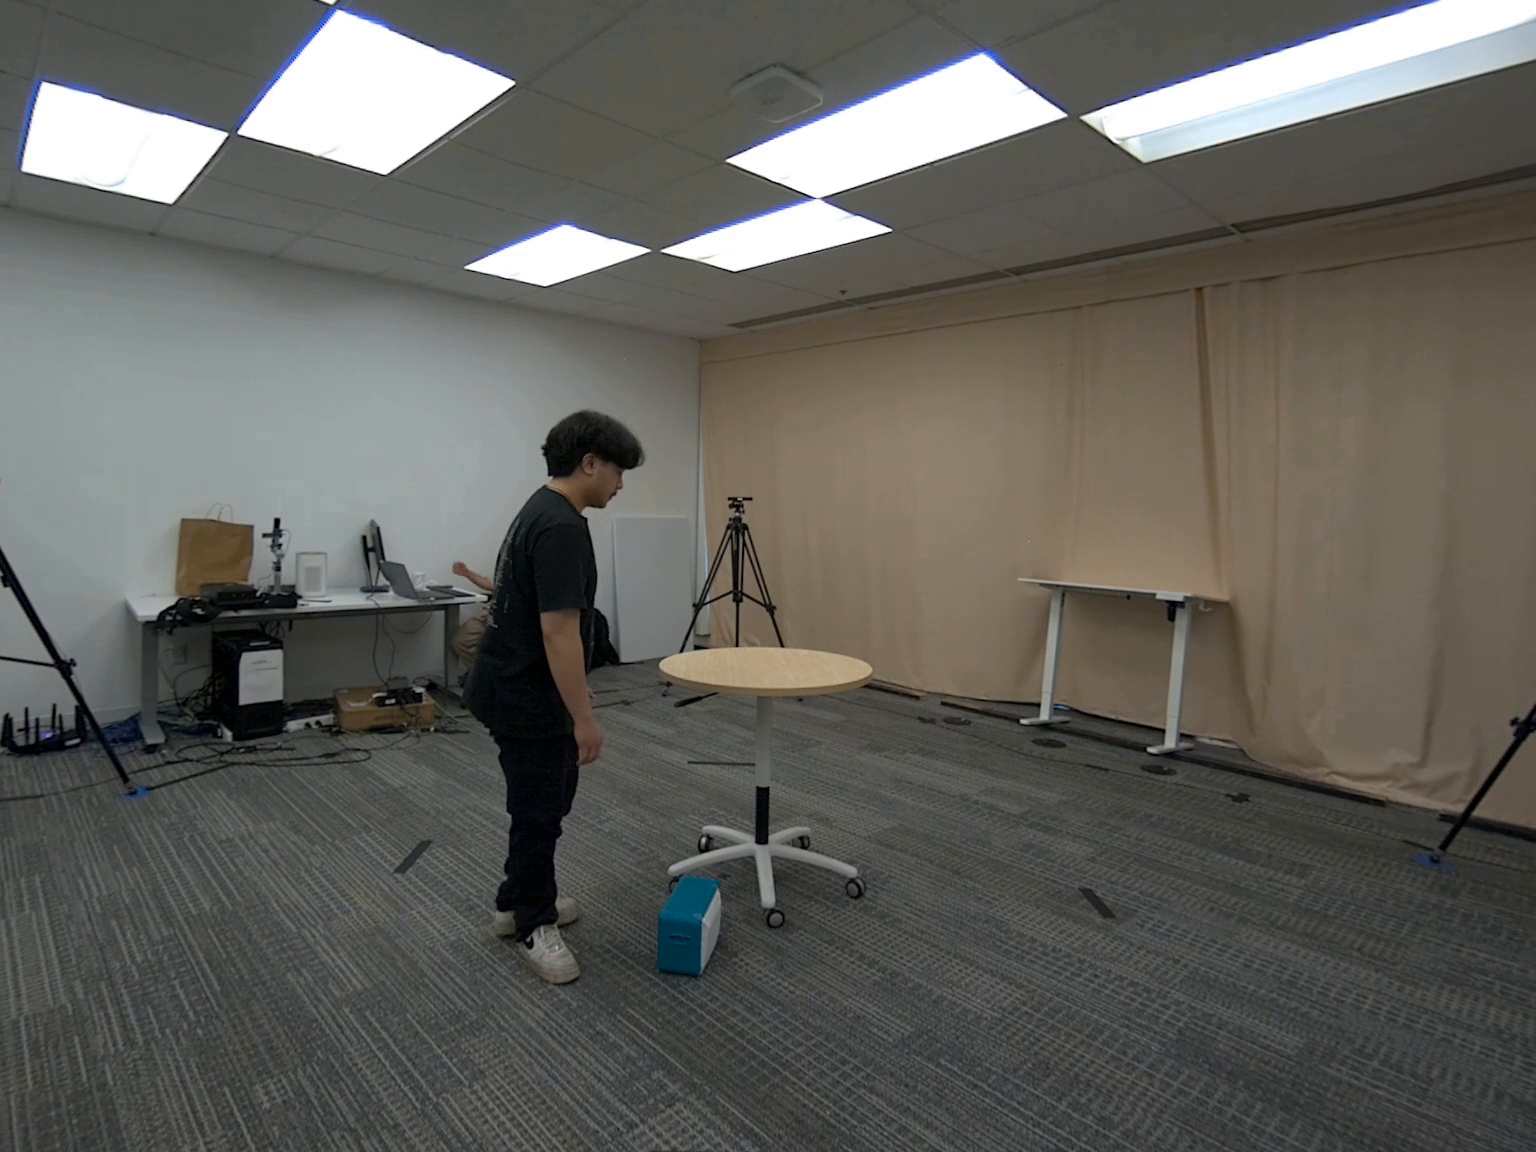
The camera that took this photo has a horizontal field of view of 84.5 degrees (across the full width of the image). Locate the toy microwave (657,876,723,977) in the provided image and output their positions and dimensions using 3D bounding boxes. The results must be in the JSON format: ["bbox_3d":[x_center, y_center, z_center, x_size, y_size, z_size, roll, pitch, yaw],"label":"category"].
[{"bbox_3d":[-0.228,1.059,2.567,0.154,0.183,0.284,1,5,11],"label":"toy microwave"}]
